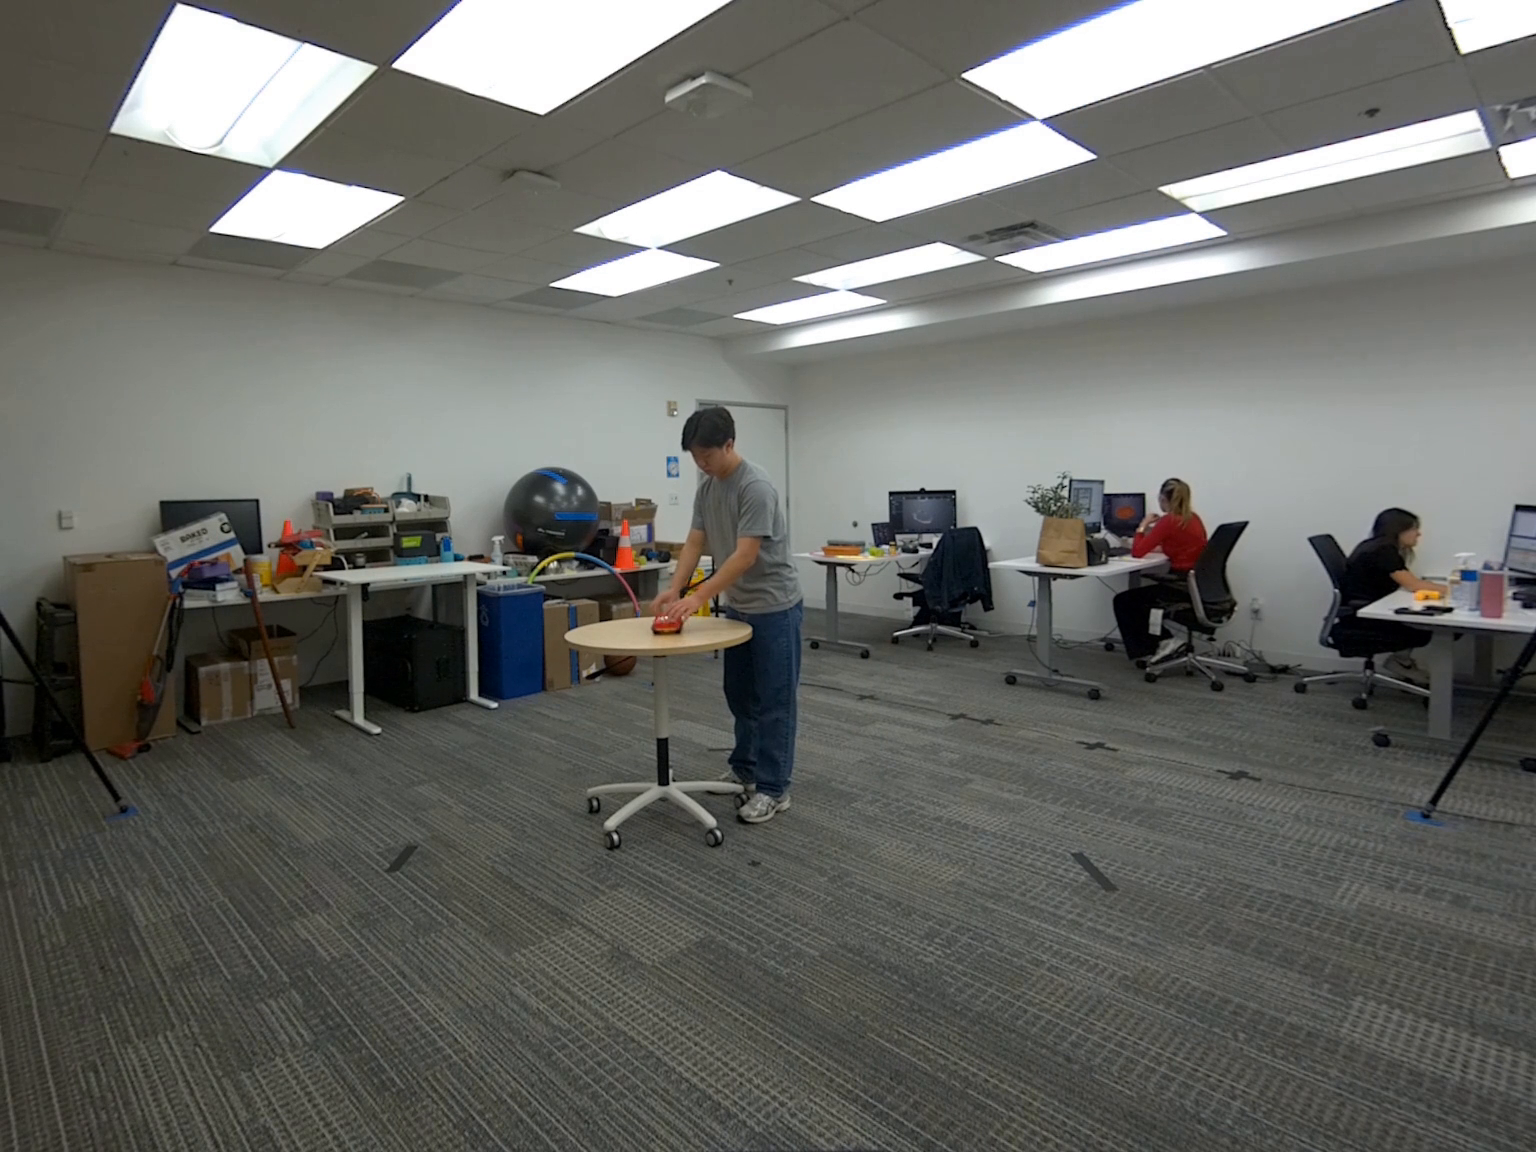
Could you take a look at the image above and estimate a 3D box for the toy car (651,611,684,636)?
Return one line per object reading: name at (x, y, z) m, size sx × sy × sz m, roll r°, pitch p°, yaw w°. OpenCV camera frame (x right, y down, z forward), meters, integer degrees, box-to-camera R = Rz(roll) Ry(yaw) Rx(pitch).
toy car at (-0.419, 0.197, 3.489) m, size 0.130 × 0.084 × 0.253 m, roll -1°, pitch -7°, yaw -3°
